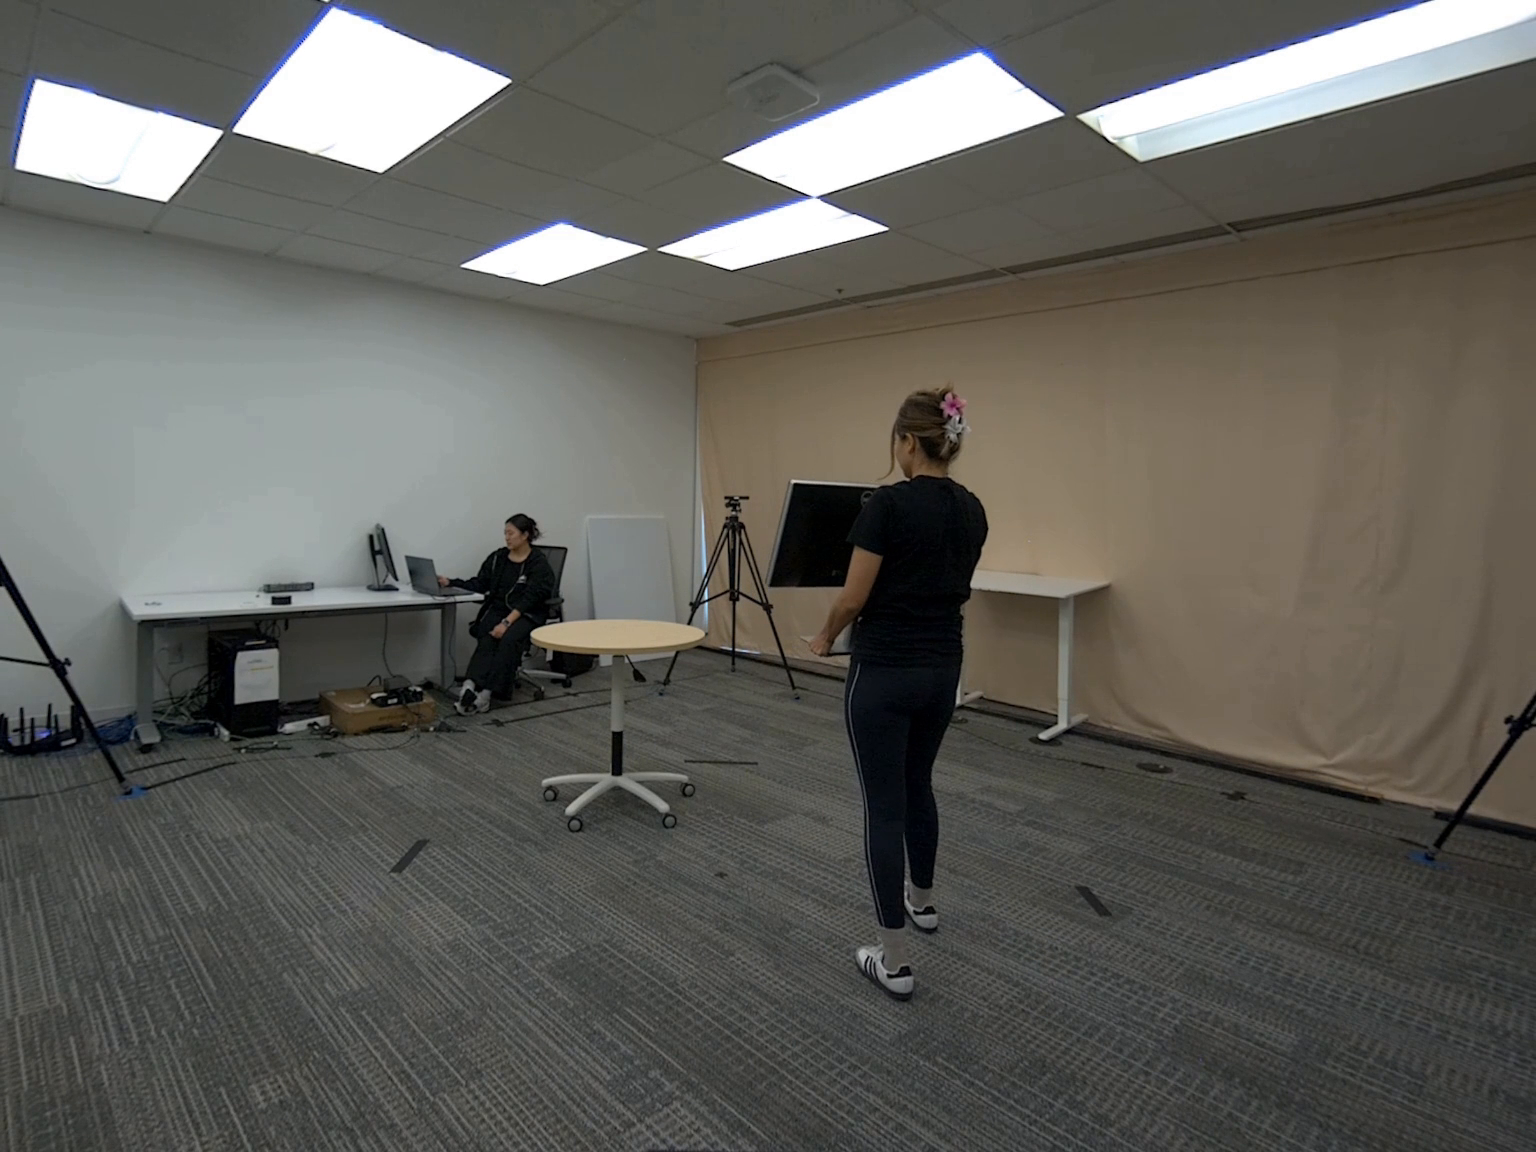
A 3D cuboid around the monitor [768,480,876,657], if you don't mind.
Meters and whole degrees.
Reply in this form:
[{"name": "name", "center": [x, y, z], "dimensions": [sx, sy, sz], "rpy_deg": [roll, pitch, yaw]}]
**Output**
[{"name": "monitor", "center": [0.283, -0.031, 2.748], "dimensions": [0.528, 0.519, 0.192], "rpy_deg": [0, 10, -29]}]
